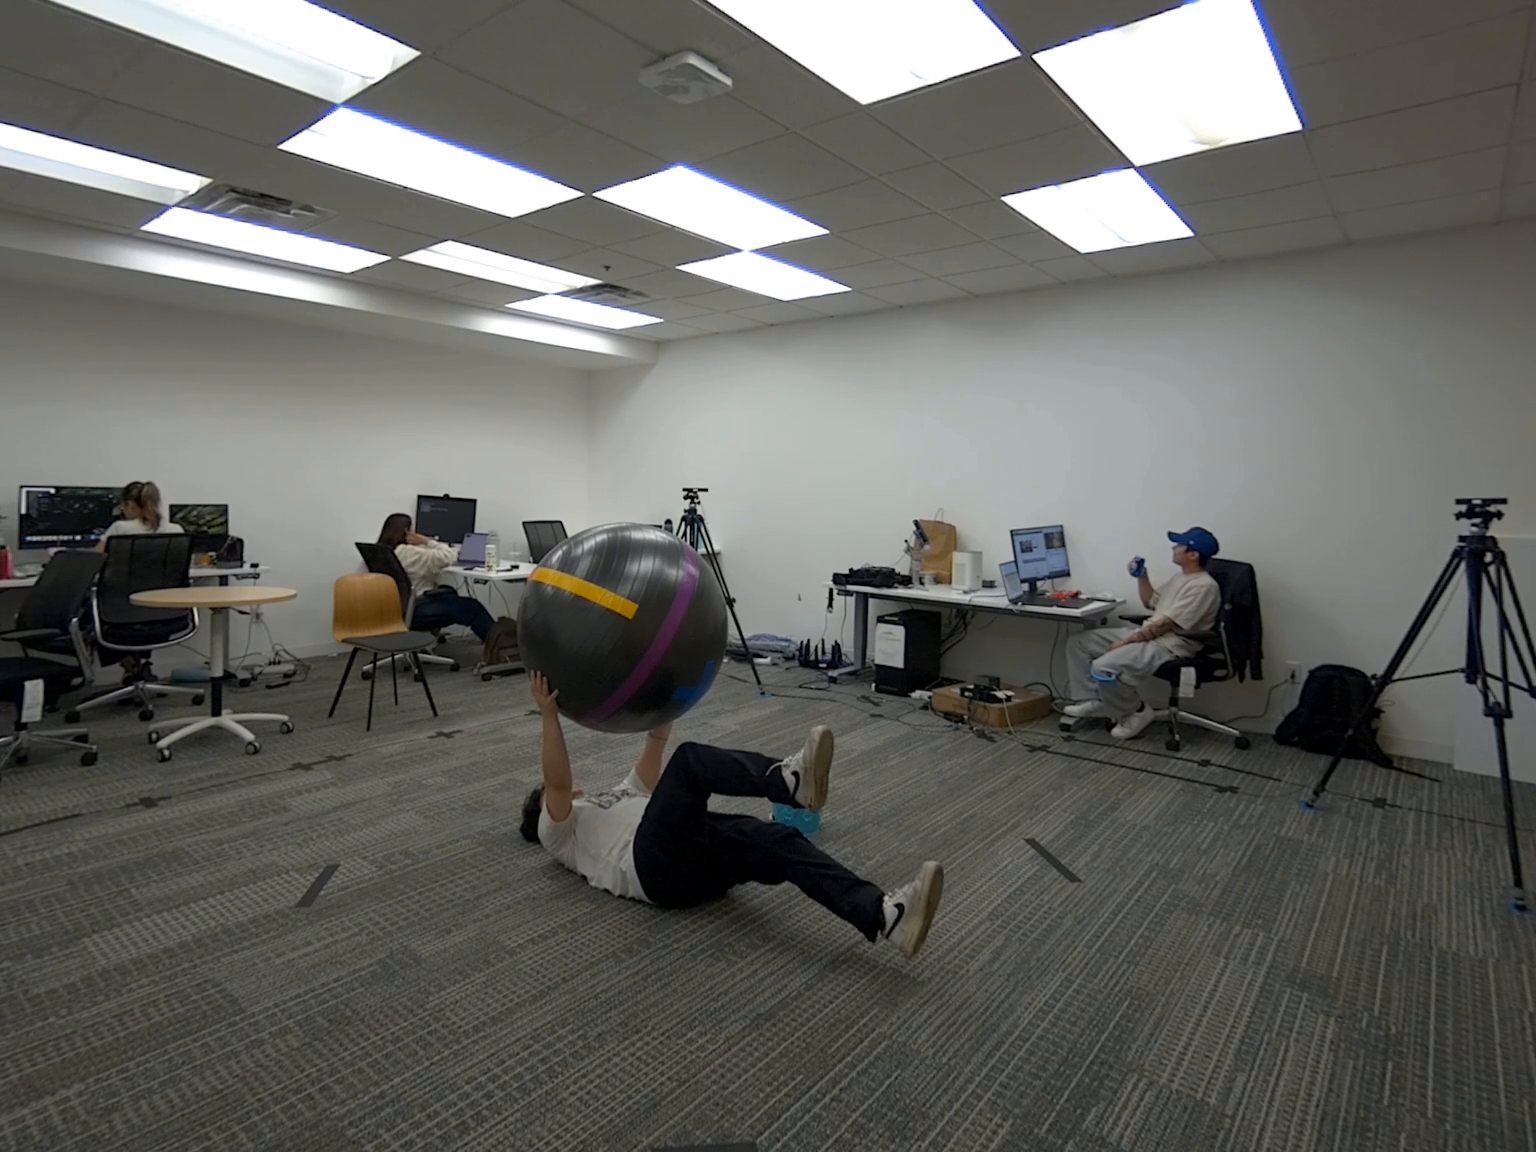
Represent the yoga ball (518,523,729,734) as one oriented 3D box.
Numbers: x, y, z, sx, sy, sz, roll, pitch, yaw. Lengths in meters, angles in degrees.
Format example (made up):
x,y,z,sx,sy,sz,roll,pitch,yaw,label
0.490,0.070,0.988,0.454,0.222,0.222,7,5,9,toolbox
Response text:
x,y,z,sx,sy,sz,roll,pitch,yaw,label
-0.534,0.189,3.077,0.757,0.756,0.761,1,4,-2,yoga ball
